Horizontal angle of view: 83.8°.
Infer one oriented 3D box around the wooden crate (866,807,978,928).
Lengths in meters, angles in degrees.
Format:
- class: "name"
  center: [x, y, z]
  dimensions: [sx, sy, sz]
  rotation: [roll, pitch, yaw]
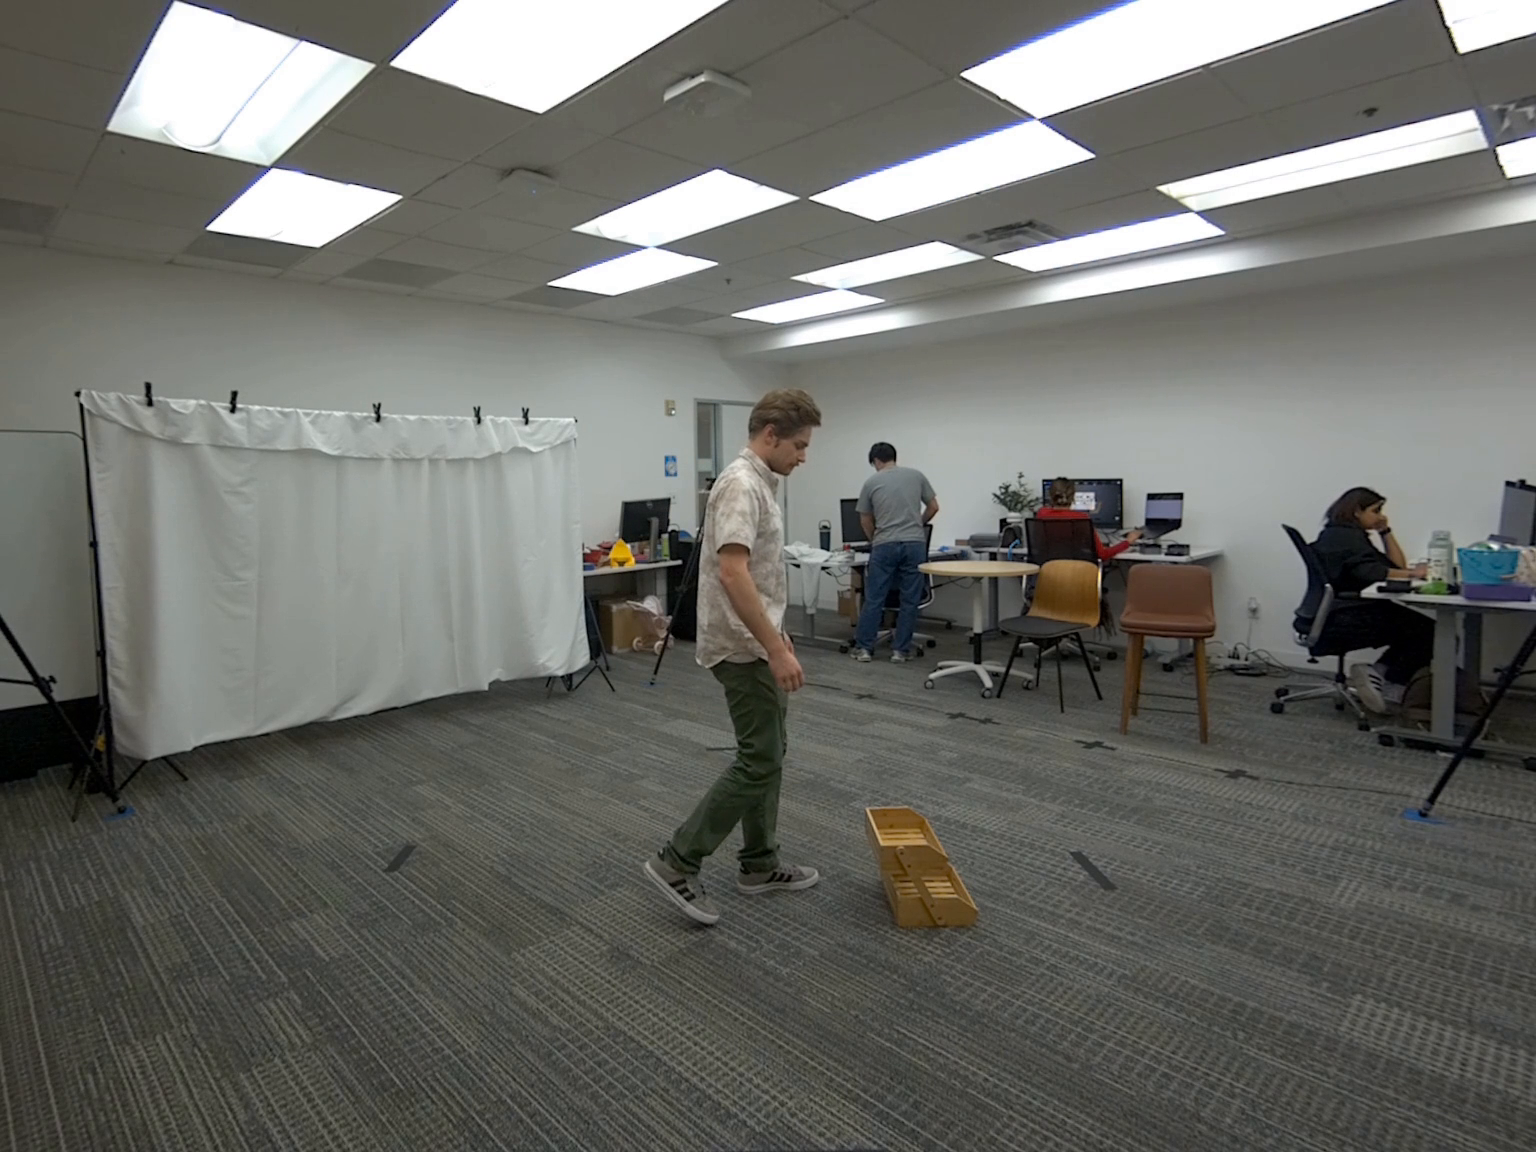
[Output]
- class: "wooden crate"
  center: [0.499, 0.936, 2.787]
  dimensions: [0.302, 0.272, 0.326]
  rotation: [-2, 5, -1]
